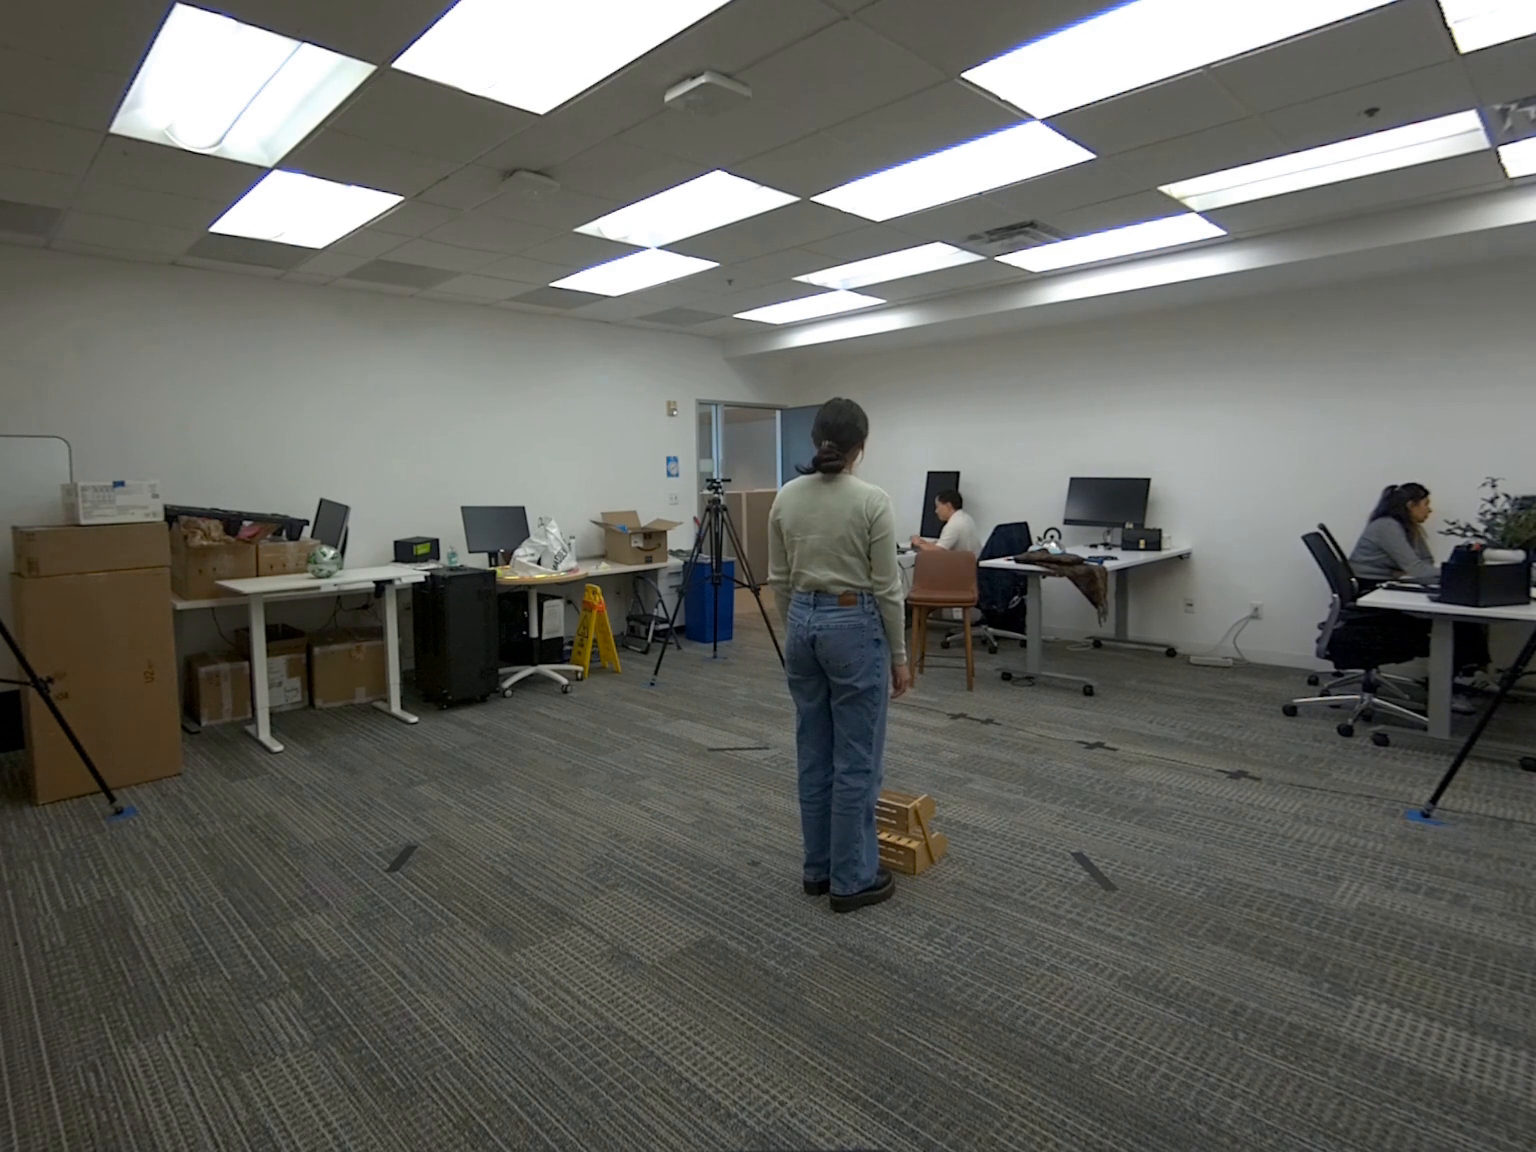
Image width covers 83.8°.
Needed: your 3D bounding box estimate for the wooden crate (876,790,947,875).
[{"bbox_3d":[0.459,0.896,3.151,0.334,0.272,0.294,3,7,39],"label":"wooden crate"}]
